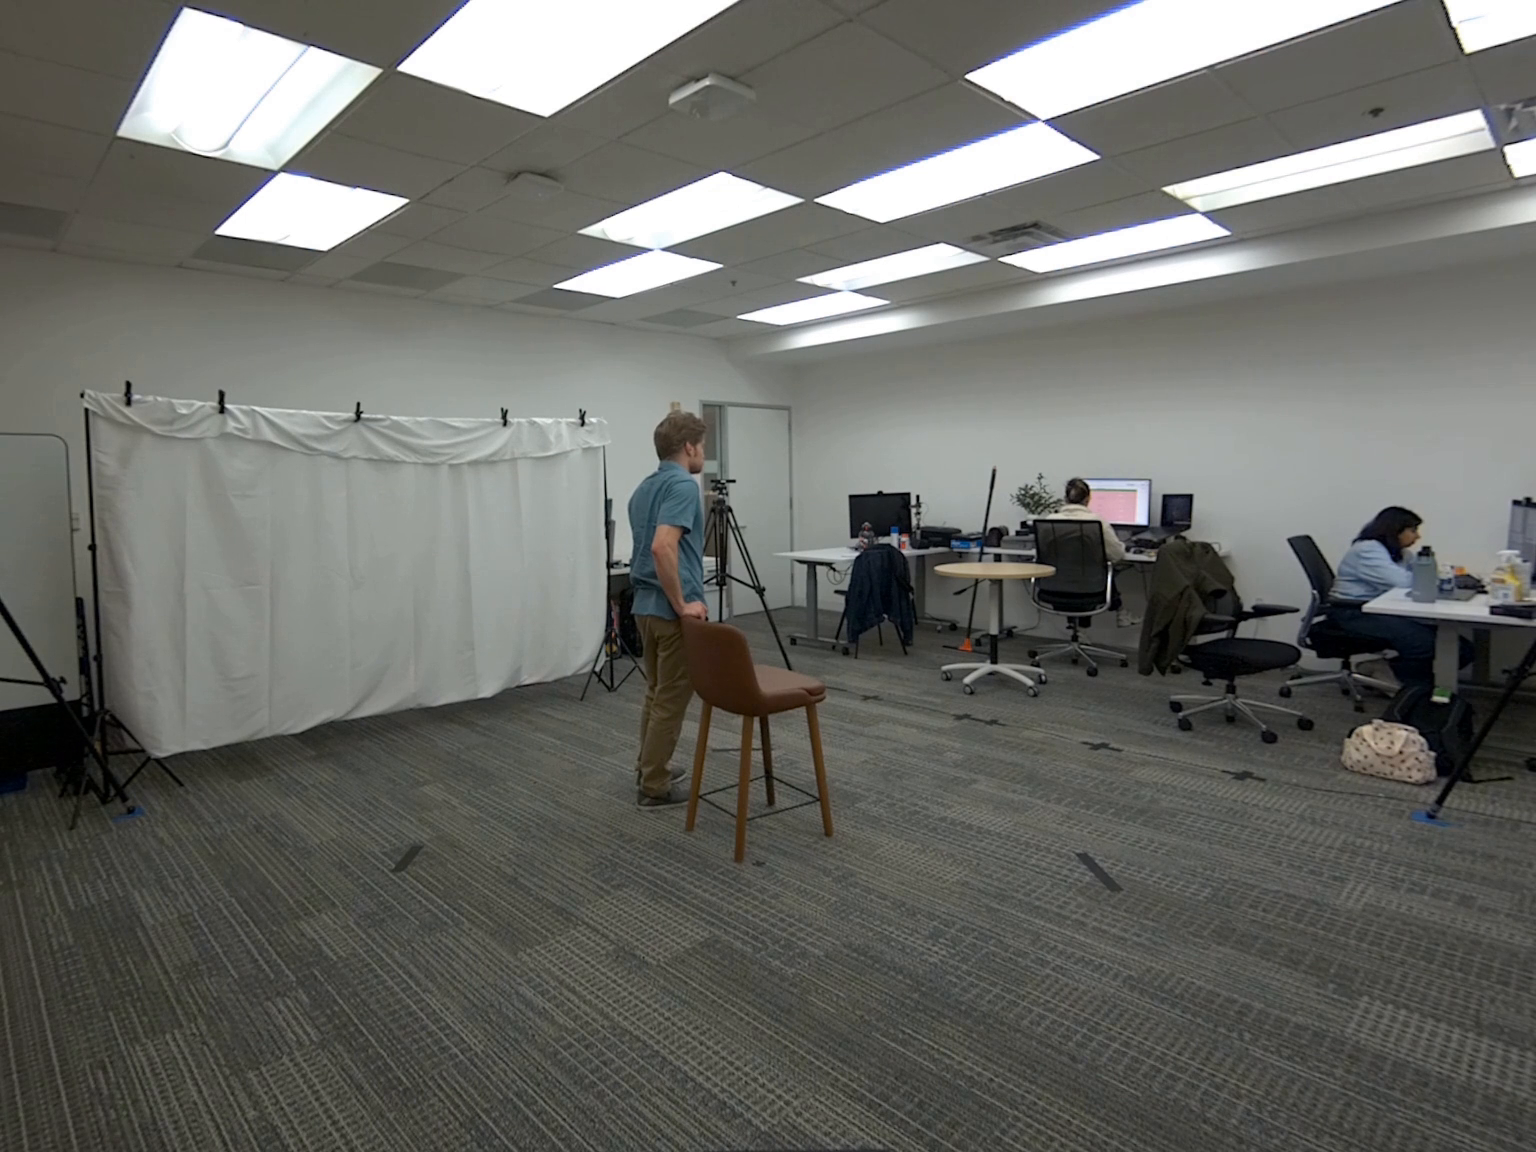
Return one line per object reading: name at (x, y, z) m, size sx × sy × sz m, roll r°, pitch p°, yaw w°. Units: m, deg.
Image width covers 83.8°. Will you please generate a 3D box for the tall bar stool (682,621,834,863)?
tall bar stool at (-0.053, 0.585, 3.357) m, size 0.456 × 0.885 × 0.470 m, roll -6°, pitch 6°, yaw -36°
